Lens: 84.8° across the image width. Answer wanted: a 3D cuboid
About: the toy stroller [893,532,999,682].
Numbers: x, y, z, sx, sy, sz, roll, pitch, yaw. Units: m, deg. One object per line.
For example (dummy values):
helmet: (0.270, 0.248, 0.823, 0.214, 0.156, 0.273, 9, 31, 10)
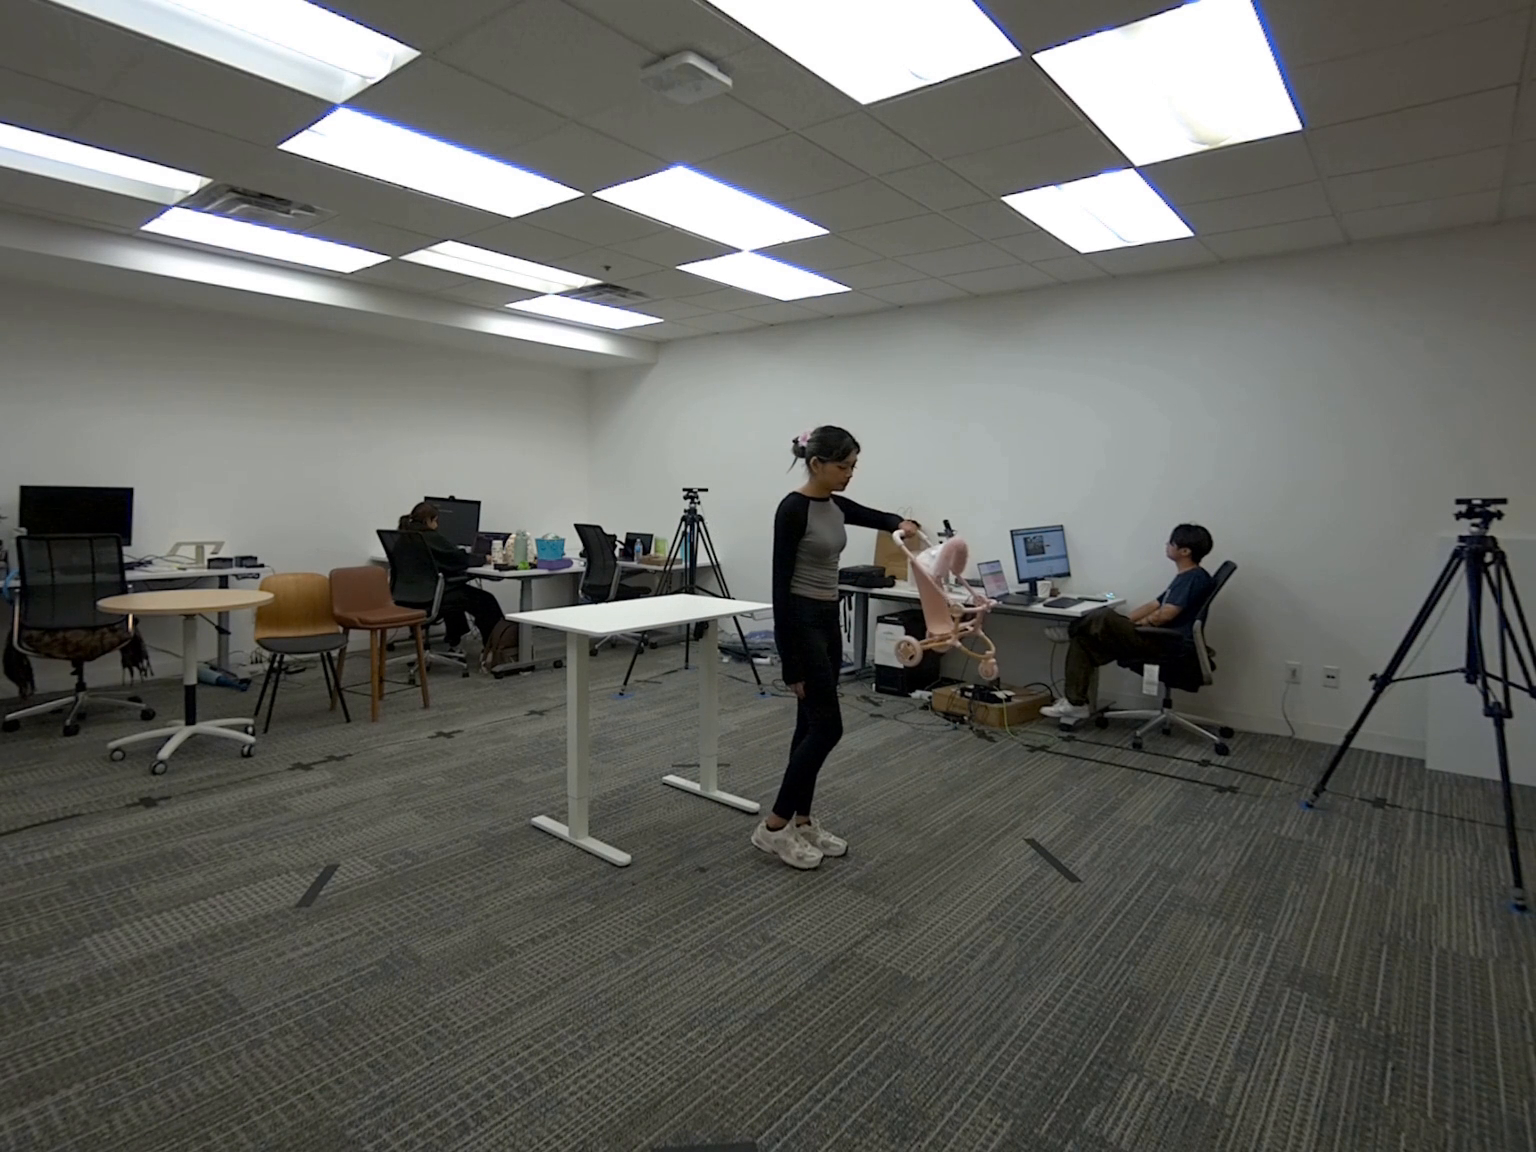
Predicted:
toy stroller: (0.629, 0.094, 3.013, 0.352, 0.533, 0.274, -2, 5, 43)
